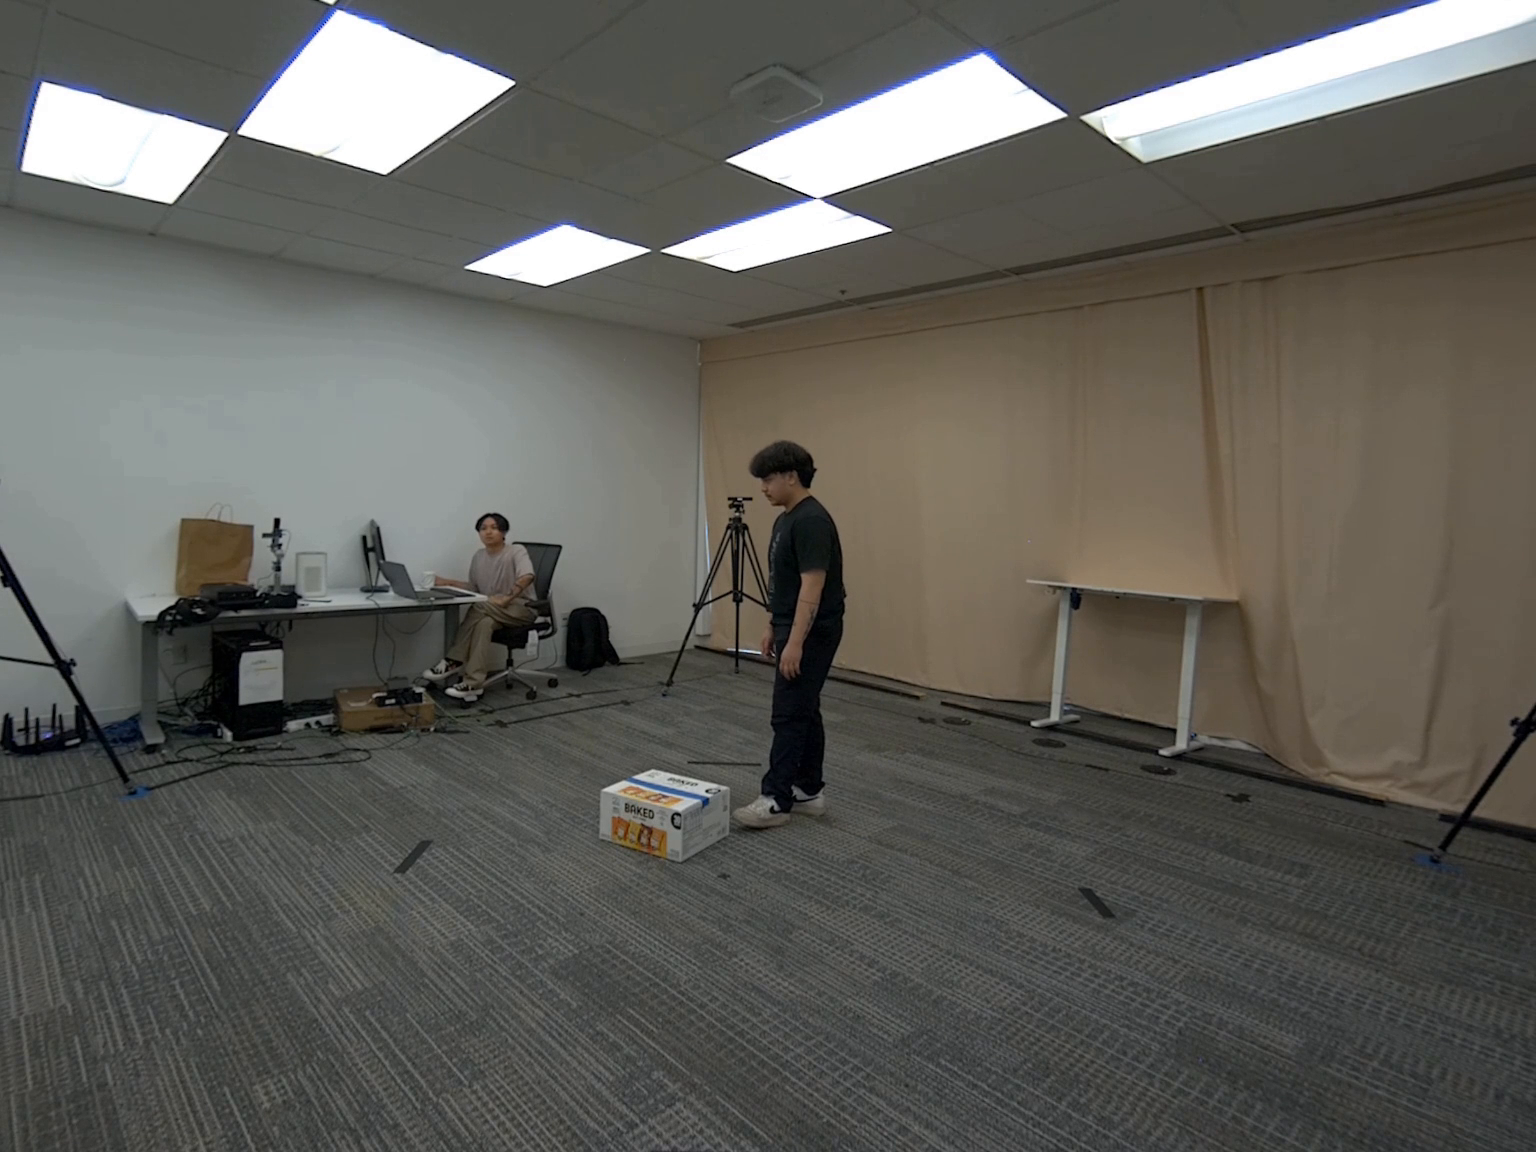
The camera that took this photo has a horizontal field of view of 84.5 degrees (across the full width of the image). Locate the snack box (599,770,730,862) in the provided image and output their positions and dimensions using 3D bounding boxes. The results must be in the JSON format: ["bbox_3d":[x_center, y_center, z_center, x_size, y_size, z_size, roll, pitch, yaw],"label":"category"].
[{"bbox_3d":[-0.427,0.968,3.438,0.414,0.205,0.333,4,5,31],"label":"snack box"}]
